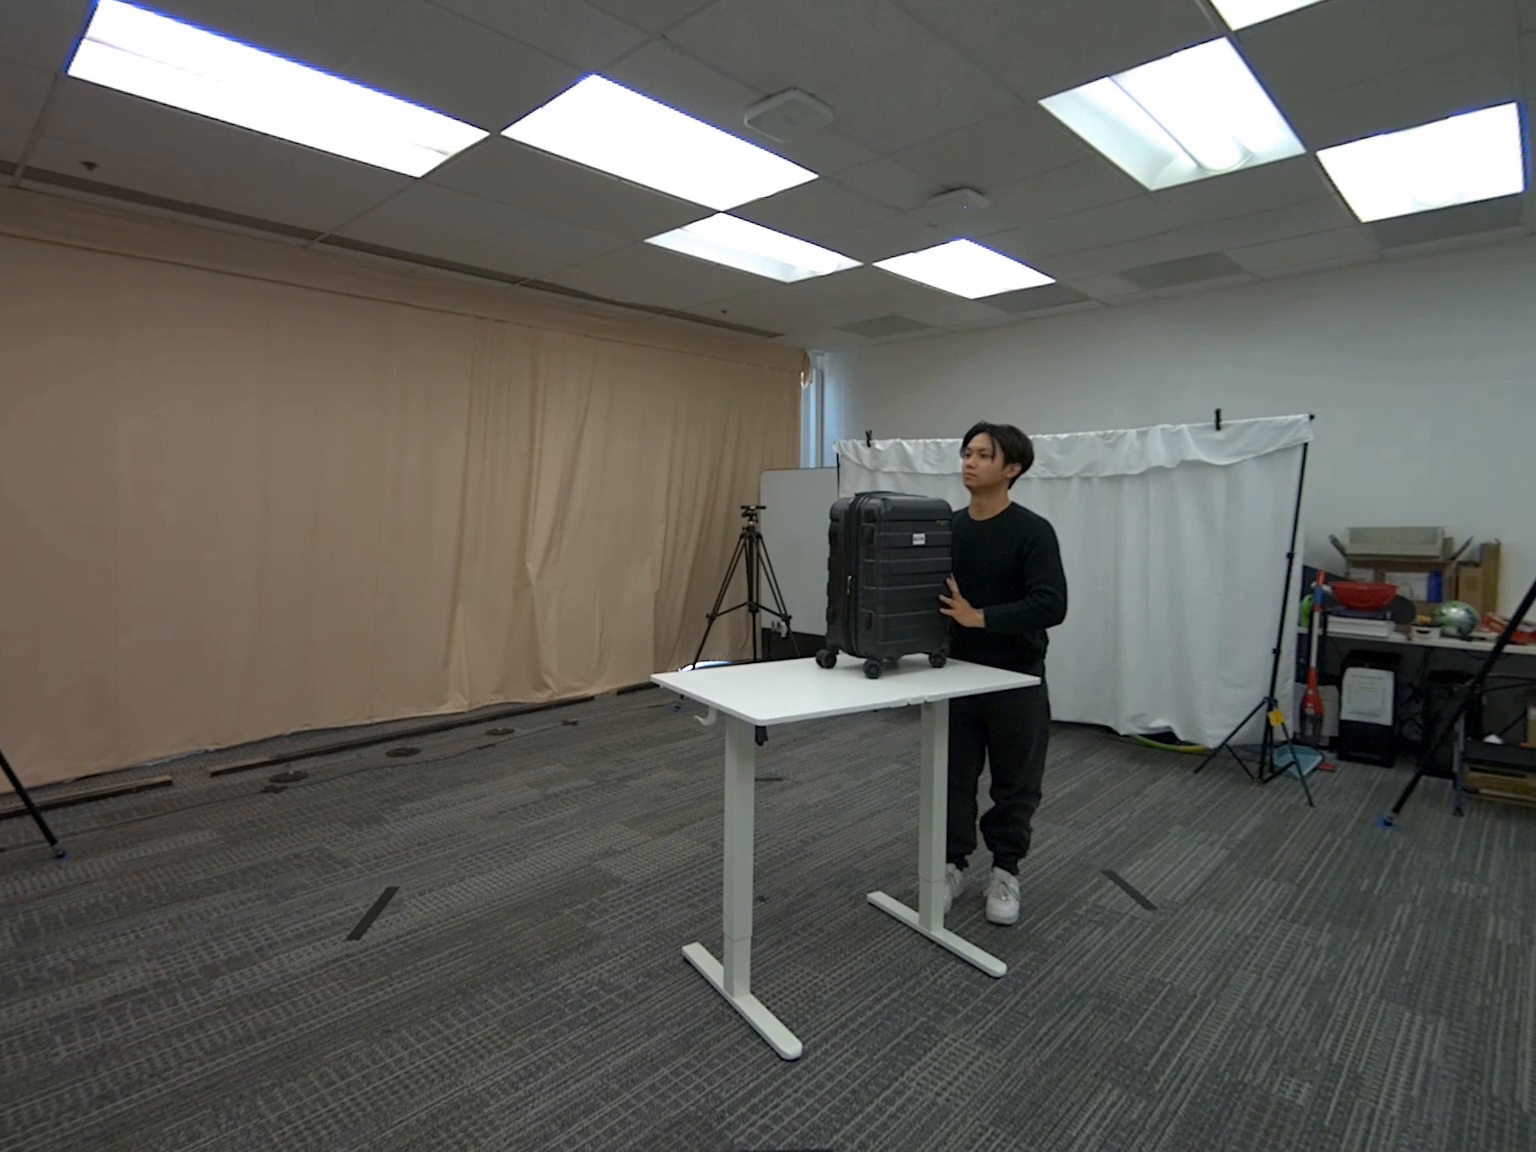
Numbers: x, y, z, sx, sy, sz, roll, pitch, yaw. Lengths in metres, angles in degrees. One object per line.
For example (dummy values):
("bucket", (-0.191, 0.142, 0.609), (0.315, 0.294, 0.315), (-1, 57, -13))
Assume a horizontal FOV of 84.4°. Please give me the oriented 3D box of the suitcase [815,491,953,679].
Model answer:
("suitcase", (0.379, 0.012, 2.643), (0.364, 0.548, 0.256), (0, 4, -38))
